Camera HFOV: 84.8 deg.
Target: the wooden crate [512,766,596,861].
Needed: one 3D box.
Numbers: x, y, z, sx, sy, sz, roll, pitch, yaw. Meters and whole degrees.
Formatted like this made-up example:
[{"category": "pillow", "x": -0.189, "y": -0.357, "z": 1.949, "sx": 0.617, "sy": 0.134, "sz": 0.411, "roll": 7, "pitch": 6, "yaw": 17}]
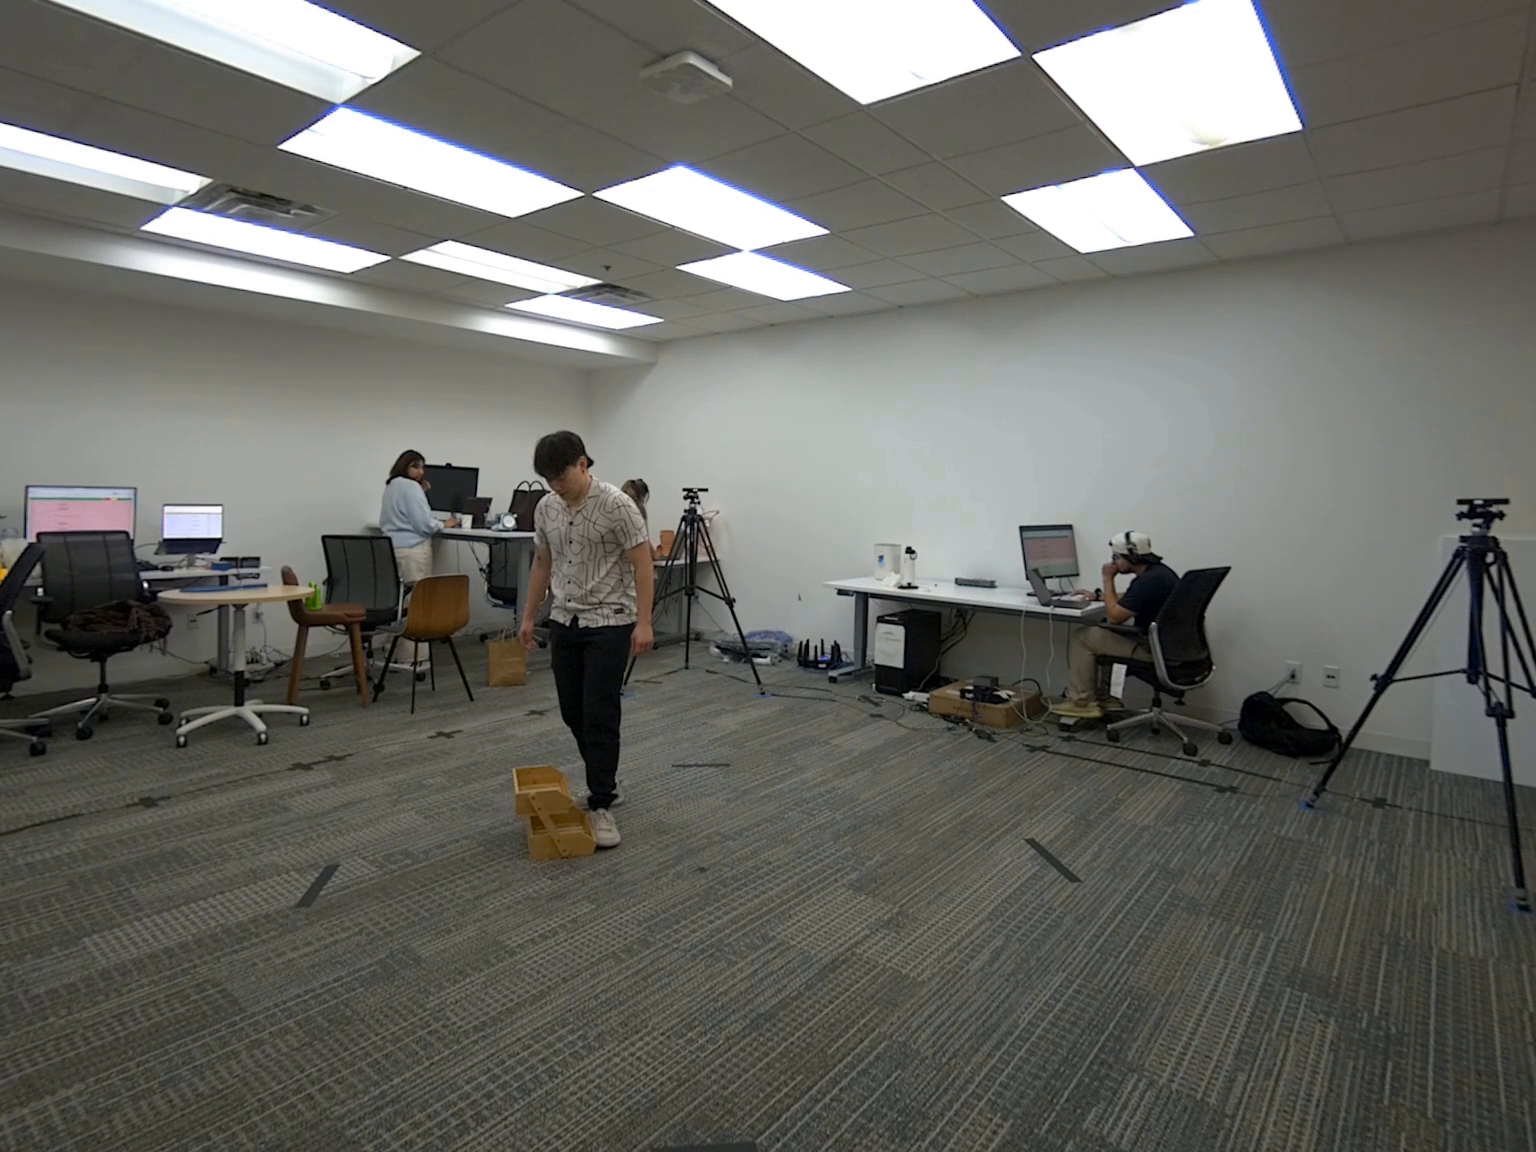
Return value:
[{"category": "wooden crate", "x": -0.835, "y": 0.908, "z": 3.321, "sx": 0.296, "sy": 0.272, "sz": 0.331, "roll": -1, "pitch": 4, "yaw": -18}]
